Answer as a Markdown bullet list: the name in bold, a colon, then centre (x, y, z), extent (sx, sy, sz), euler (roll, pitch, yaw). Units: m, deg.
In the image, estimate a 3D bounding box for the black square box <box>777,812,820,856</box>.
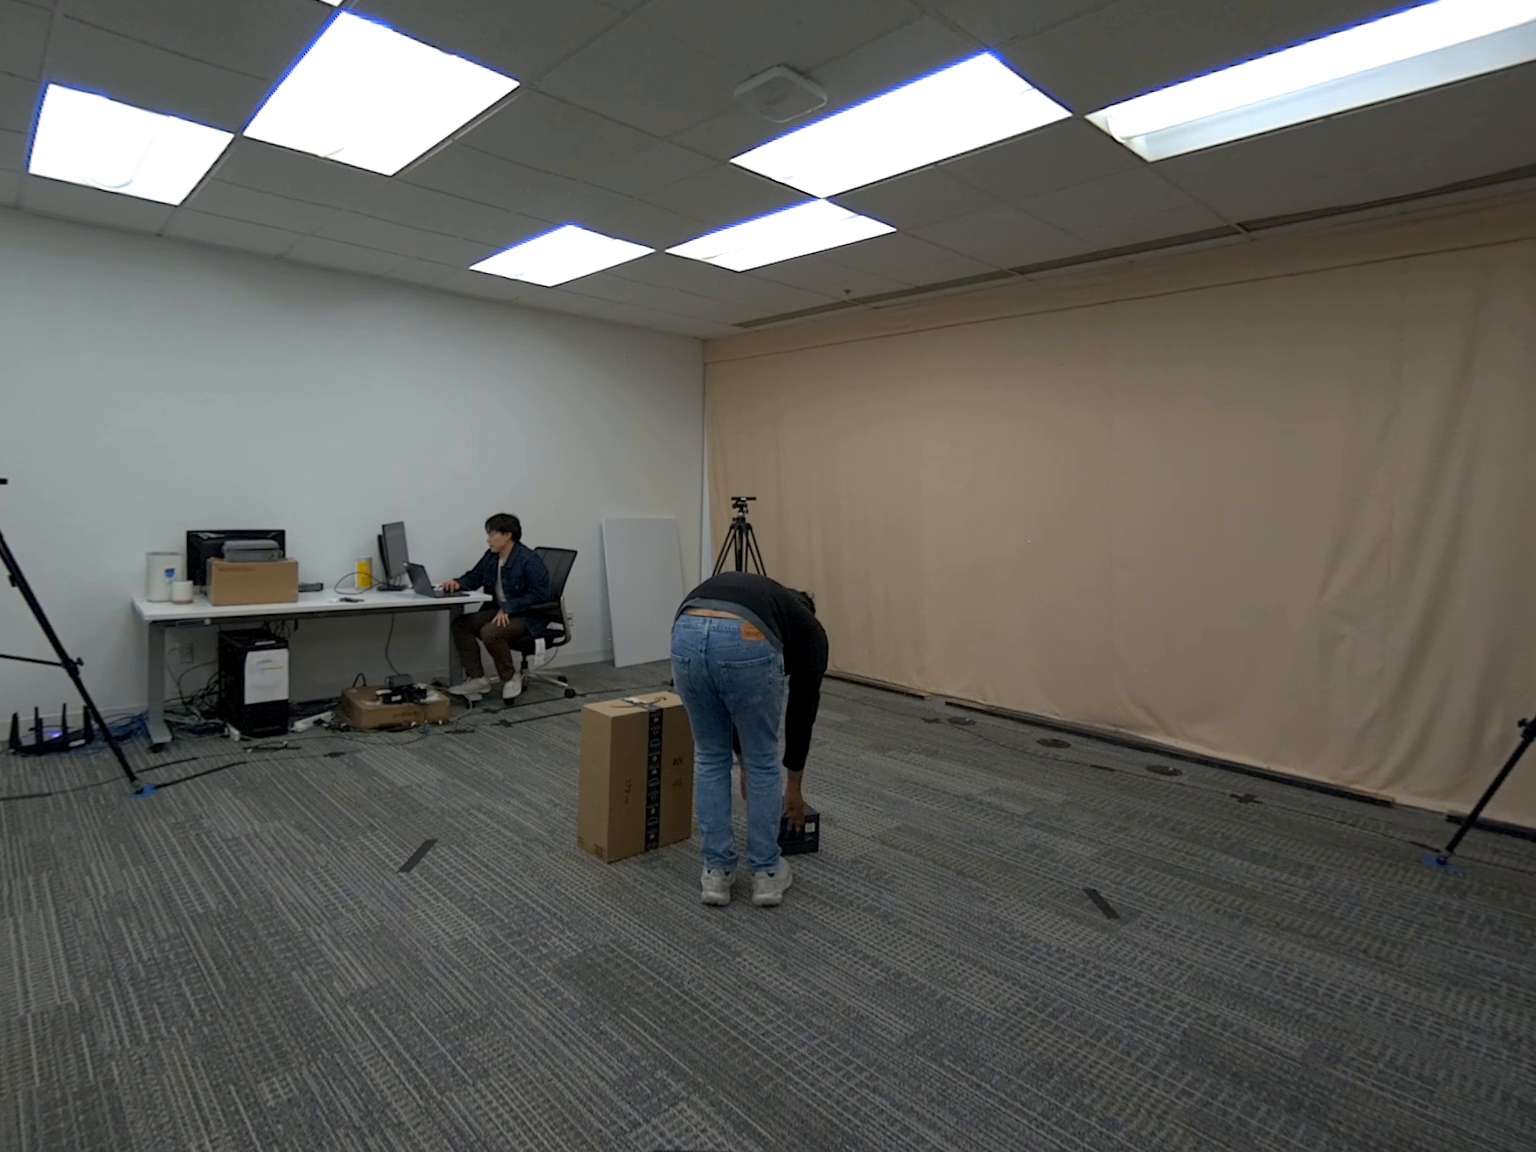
- **black square box**: centre (0.056, 1.004, 3.398), extent (0.213, 0.155, 0.232), euler (0, 5, -21)
